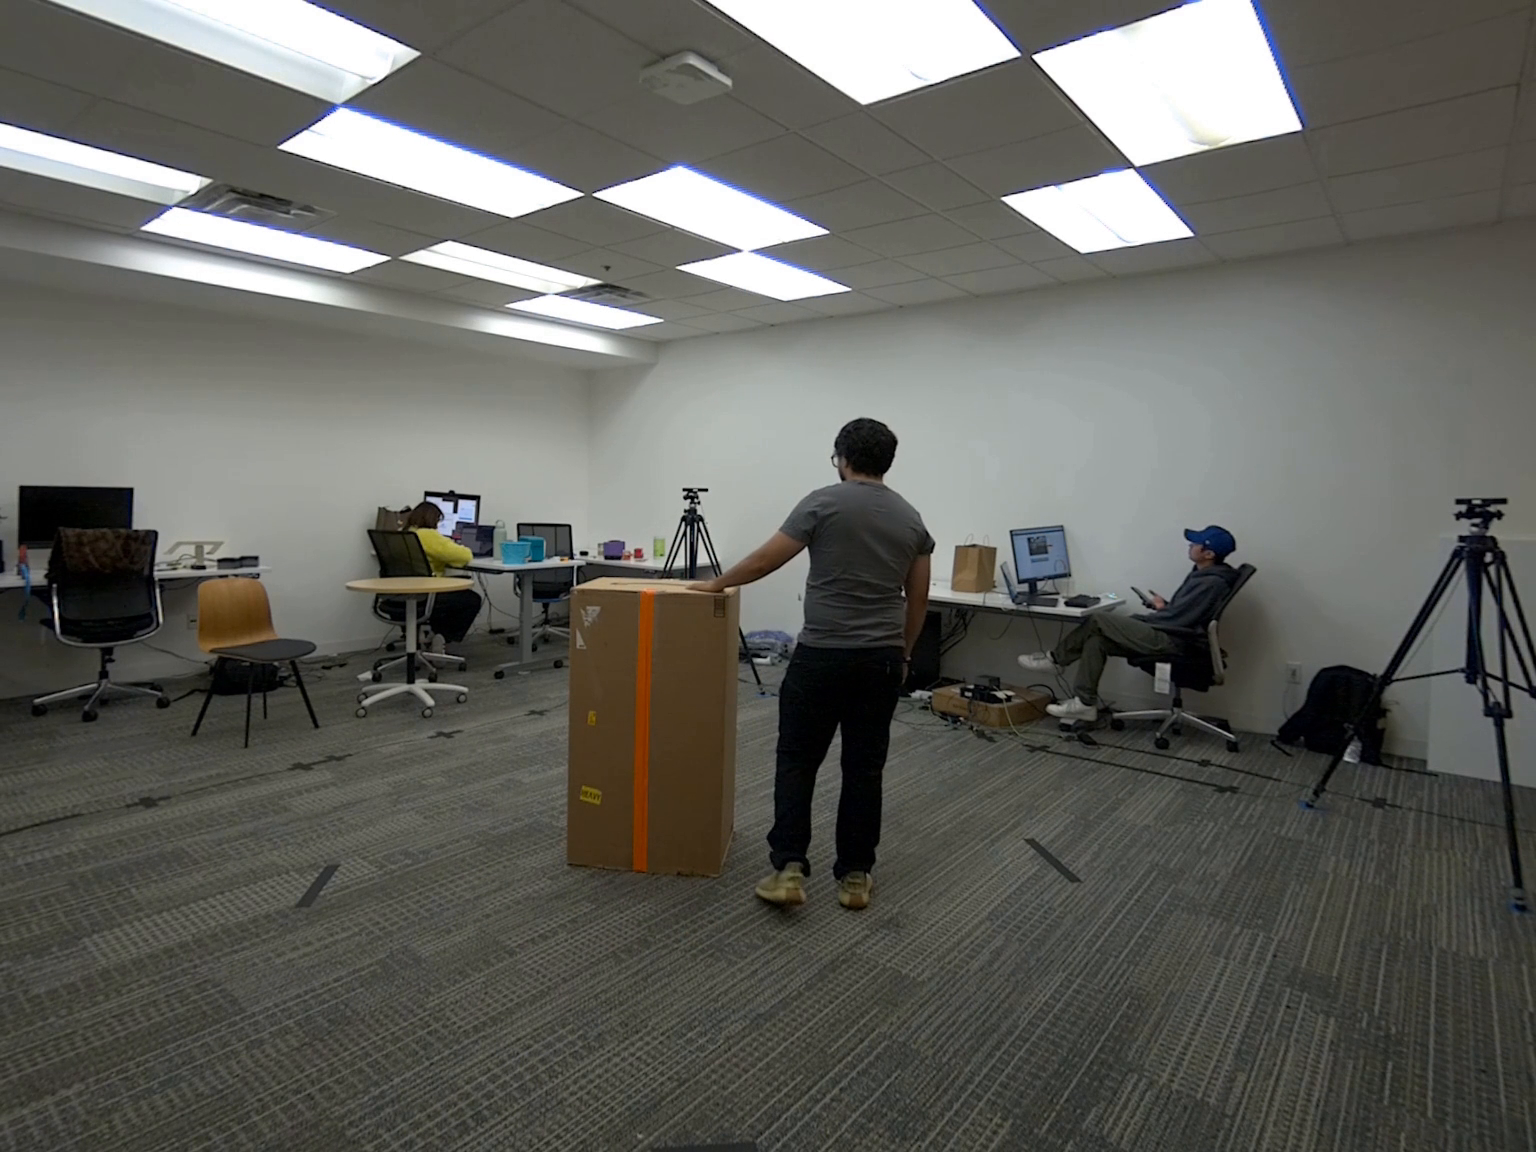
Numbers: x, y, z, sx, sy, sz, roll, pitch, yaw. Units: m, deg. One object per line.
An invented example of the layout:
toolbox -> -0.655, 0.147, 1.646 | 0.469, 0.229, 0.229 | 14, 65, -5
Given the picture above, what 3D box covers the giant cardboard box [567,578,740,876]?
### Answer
giant cardboard box -> -0.438, 0.540, 3.263 | 0.583, 1.023, 0.423 | 2, 3, 7
